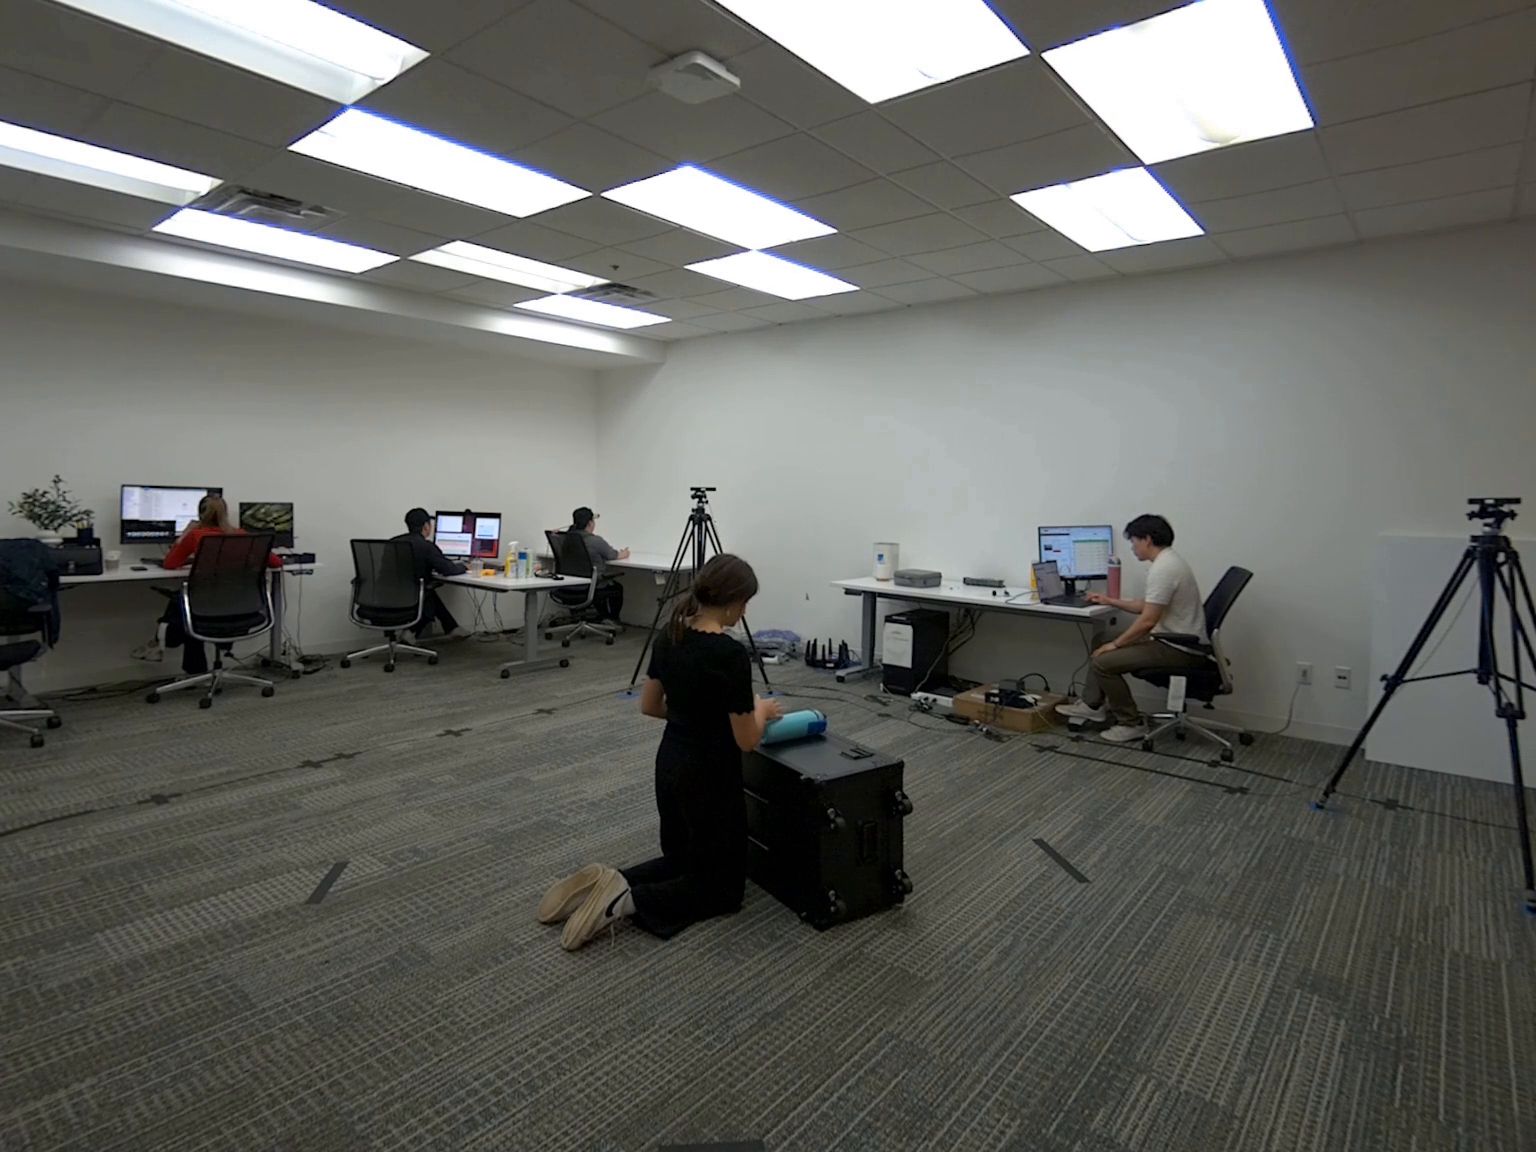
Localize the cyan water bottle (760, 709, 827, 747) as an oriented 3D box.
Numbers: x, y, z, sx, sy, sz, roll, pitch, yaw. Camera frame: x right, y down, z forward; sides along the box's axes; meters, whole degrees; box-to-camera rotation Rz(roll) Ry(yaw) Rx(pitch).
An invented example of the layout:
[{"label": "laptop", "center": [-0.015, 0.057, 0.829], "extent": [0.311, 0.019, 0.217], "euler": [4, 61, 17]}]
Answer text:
[{"label": "cyan water bottle", "center": [0.079, 0.539, 3.082], "extent": [0.276, 0.092, 0.095], "euler": [-5, 7, -30]}]
